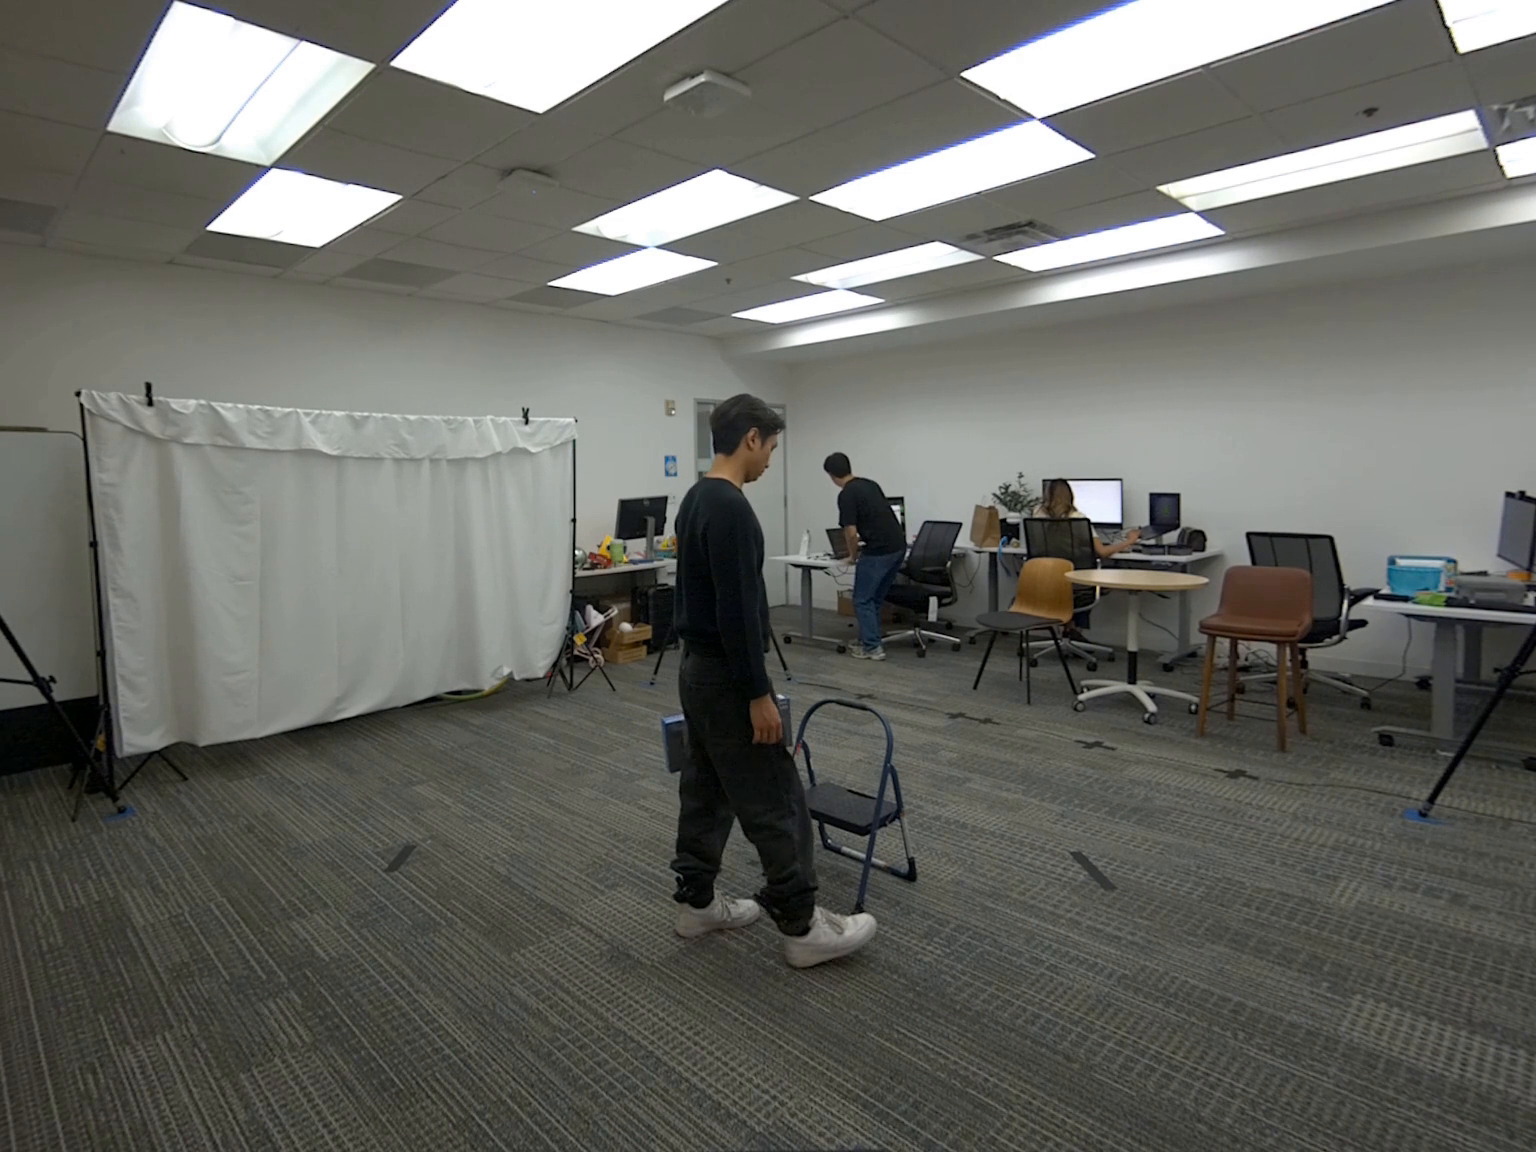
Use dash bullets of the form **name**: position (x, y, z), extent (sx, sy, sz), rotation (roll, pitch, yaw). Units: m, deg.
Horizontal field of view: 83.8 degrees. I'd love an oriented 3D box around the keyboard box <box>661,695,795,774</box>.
- **keyboard box**: position (-0.130, 0.526, 2.856), extent (0.431, 0.175, 0.060), rotation (-8, 8, -17)
